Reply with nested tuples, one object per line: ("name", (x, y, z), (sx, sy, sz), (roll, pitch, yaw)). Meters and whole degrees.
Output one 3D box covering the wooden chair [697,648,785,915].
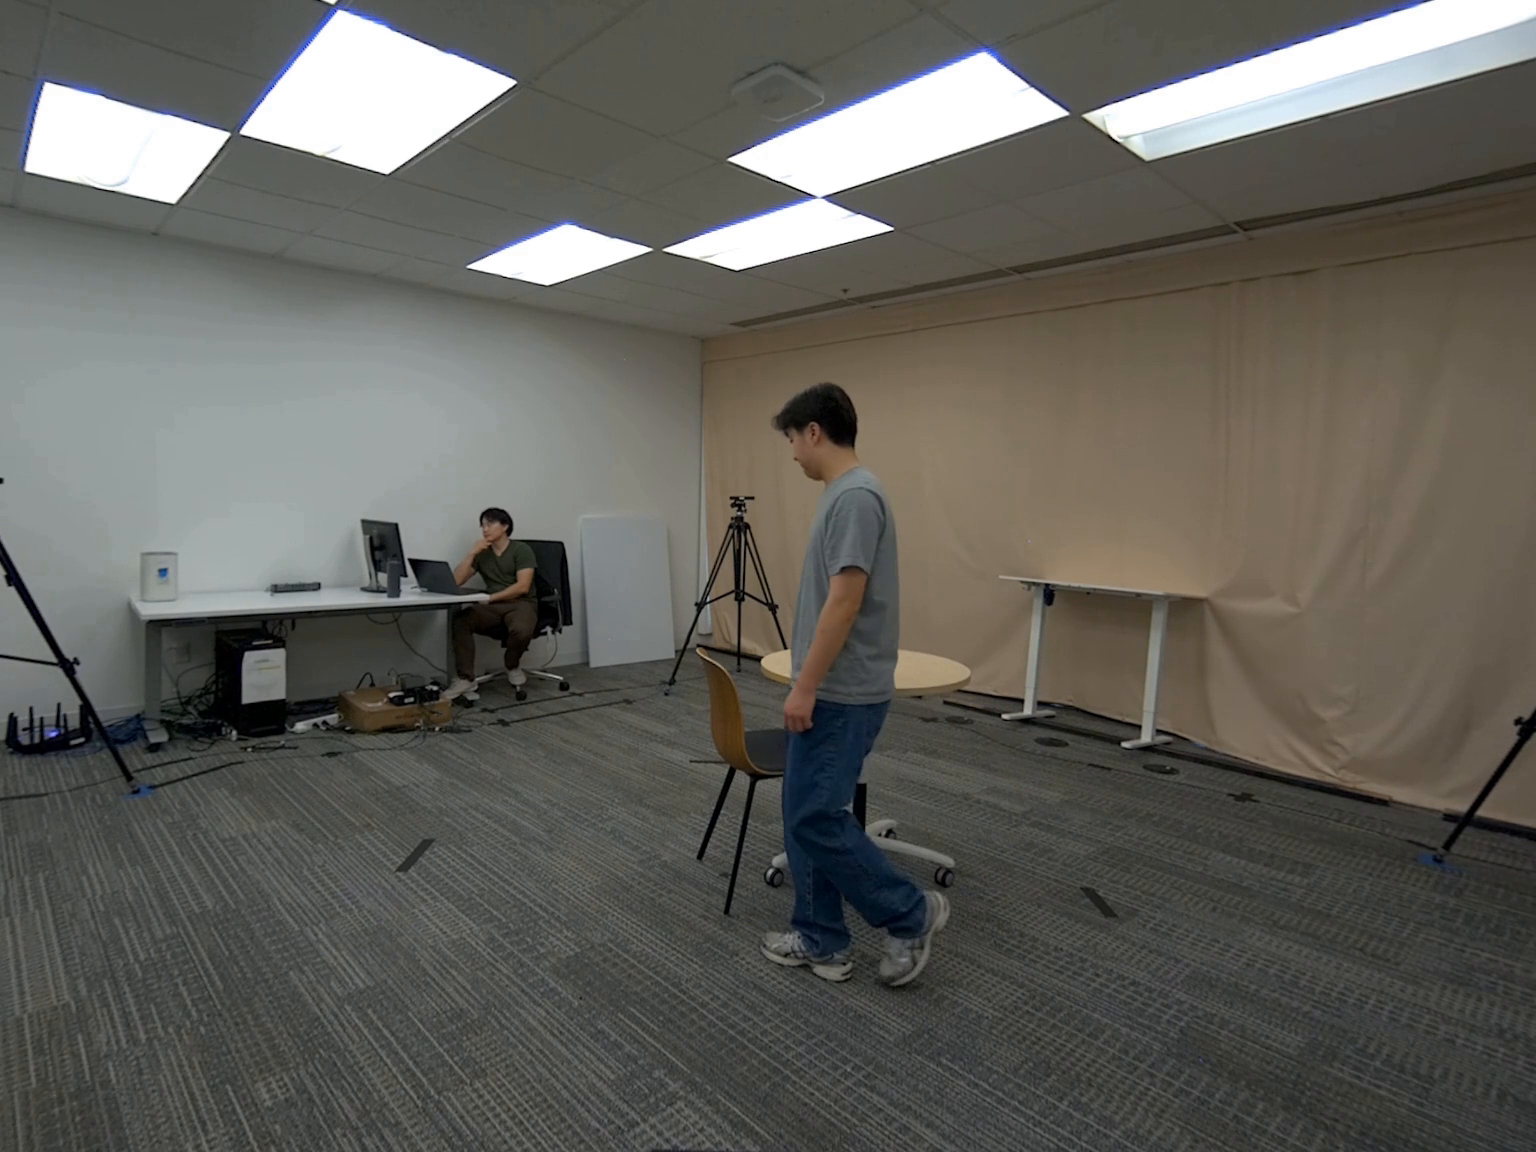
("wooden chair", (0.018, 0.681, 3.046), (0.517, 0.874, 0.485), (-4, 5, -15))
